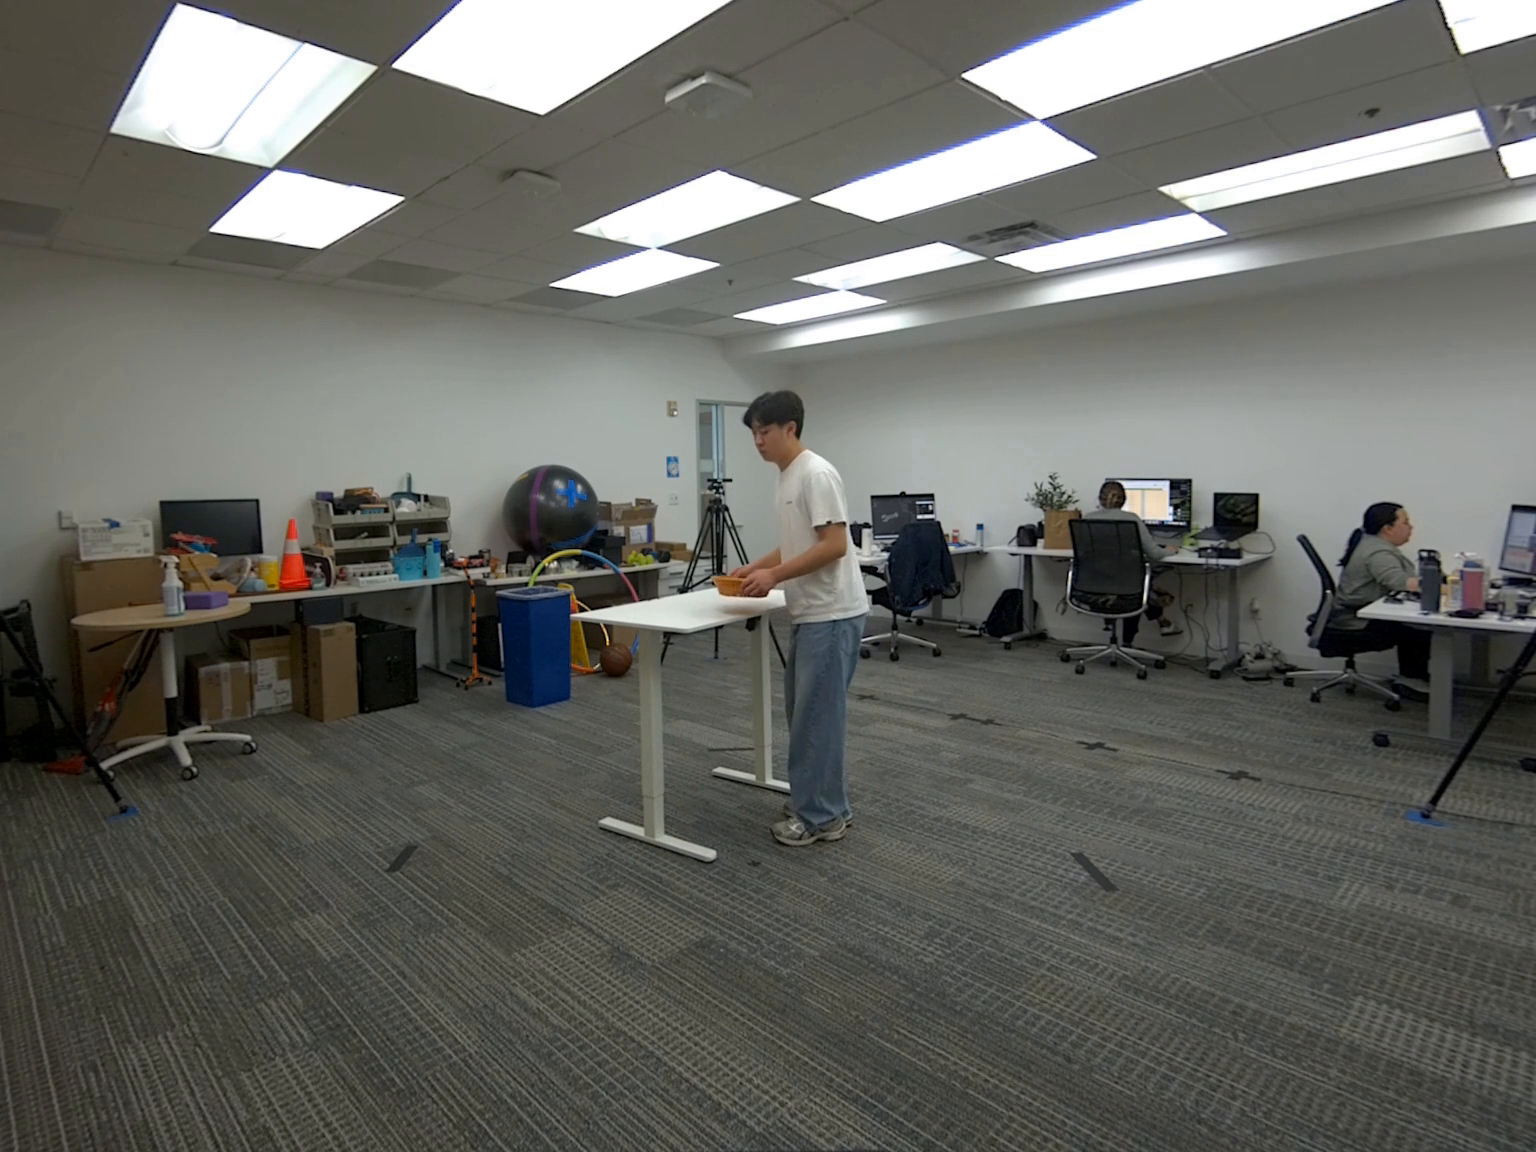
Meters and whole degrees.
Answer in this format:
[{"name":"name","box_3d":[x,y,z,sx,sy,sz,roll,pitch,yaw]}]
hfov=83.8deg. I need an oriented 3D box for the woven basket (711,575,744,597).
[{"name":"woven basket","box_3d":[-0.076,0.048,3.349,0.254,0.073,0.349,3,3,4]}]
